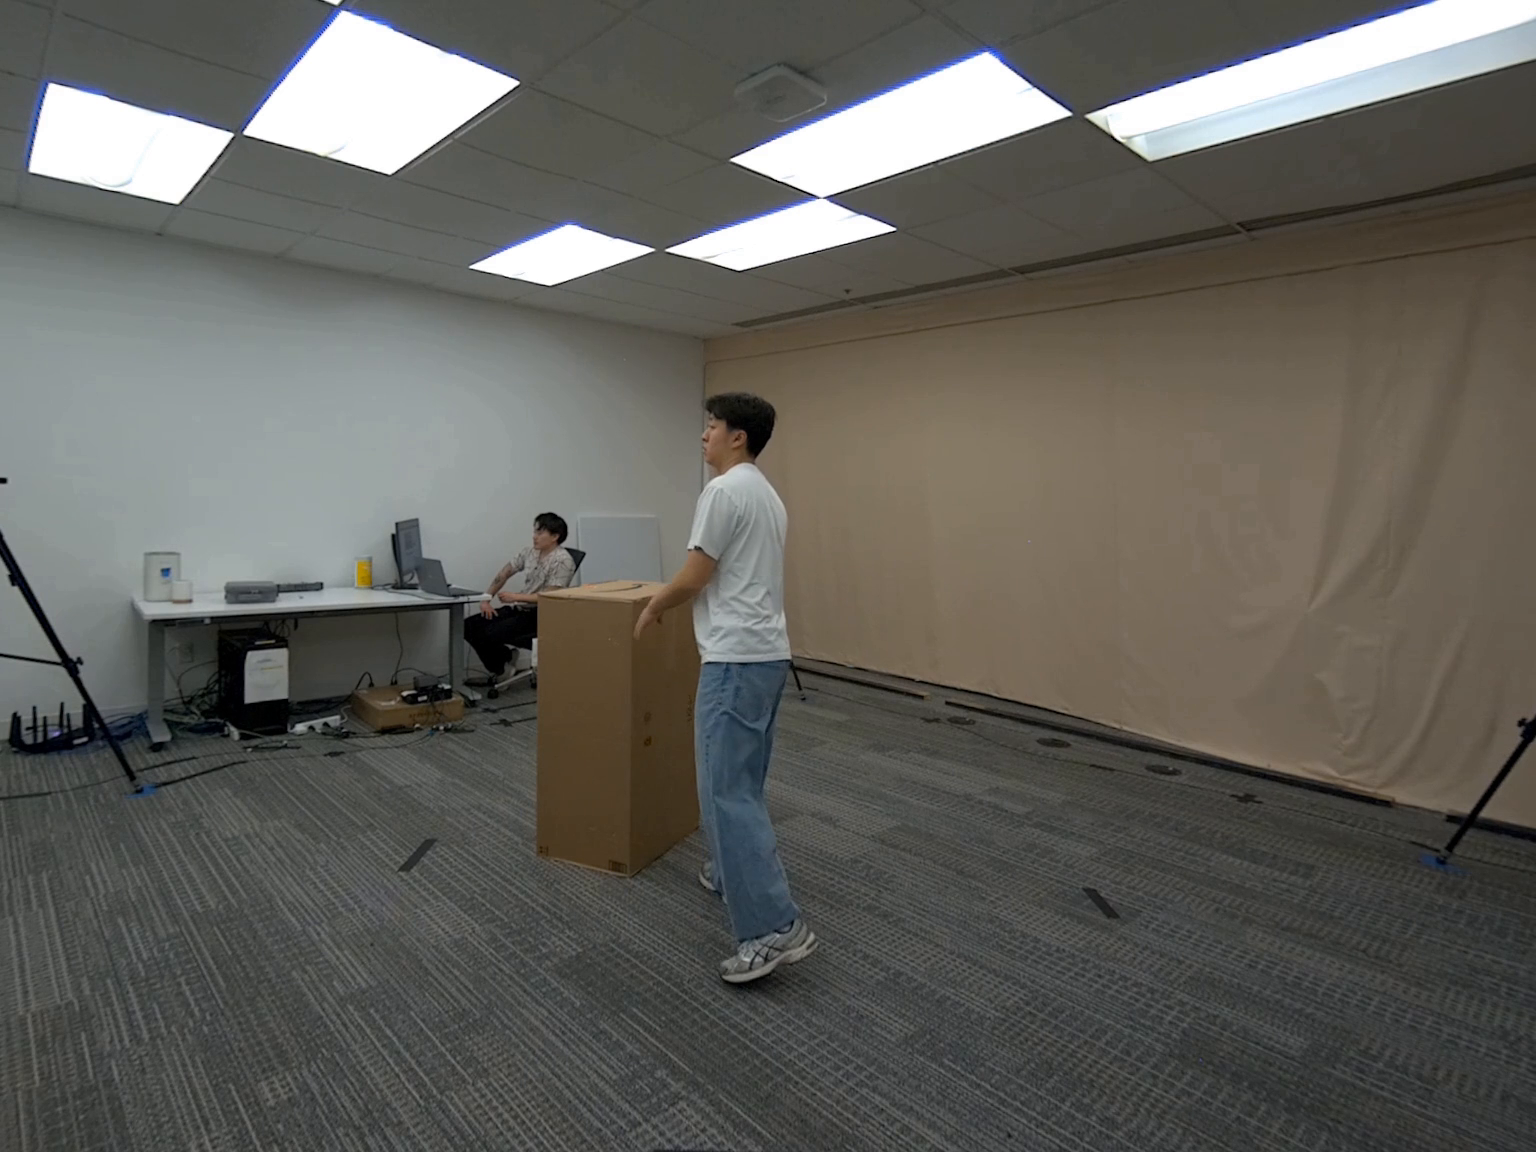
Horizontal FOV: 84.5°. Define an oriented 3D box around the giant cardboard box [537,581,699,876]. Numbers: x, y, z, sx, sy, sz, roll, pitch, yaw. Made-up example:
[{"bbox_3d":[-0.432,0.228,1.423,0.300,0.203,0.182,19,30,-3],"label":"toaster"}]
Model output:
[{"bbox_3d":[-0.589,0.561,3.376,0.434,1.023,0.568,3,4,24],"label":"giant cardboard box"}]
